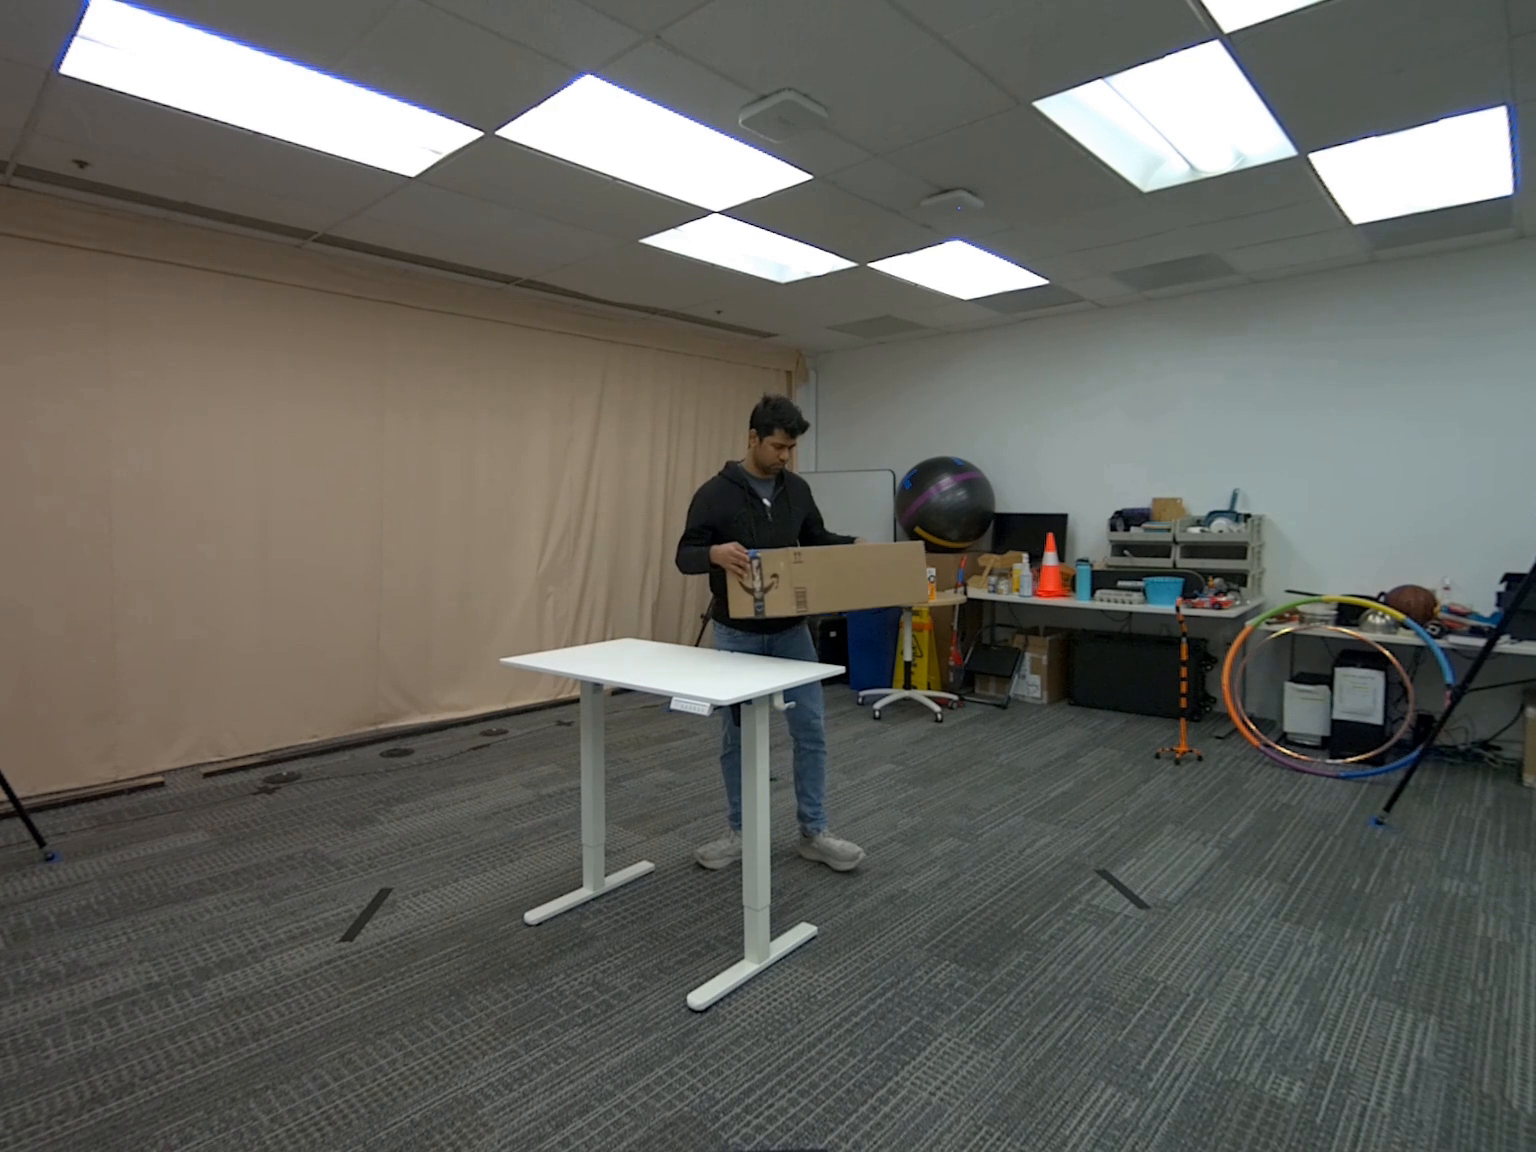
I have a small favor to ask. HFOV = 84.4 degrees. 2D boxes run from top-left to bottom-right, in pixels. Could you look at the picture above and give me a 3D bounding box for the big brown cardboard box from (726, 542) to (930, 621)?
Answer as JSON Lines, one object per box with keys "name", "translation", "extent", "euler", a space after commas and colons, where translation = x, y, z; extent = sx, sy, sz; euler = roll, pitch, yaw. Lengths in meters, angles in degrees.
{"name": "big brown cardboard box", "translation": [0.197, 0.017, 2.934], "extent": [0.573, 0.233, 0.428], "euler": [-3, -2, -30]}
